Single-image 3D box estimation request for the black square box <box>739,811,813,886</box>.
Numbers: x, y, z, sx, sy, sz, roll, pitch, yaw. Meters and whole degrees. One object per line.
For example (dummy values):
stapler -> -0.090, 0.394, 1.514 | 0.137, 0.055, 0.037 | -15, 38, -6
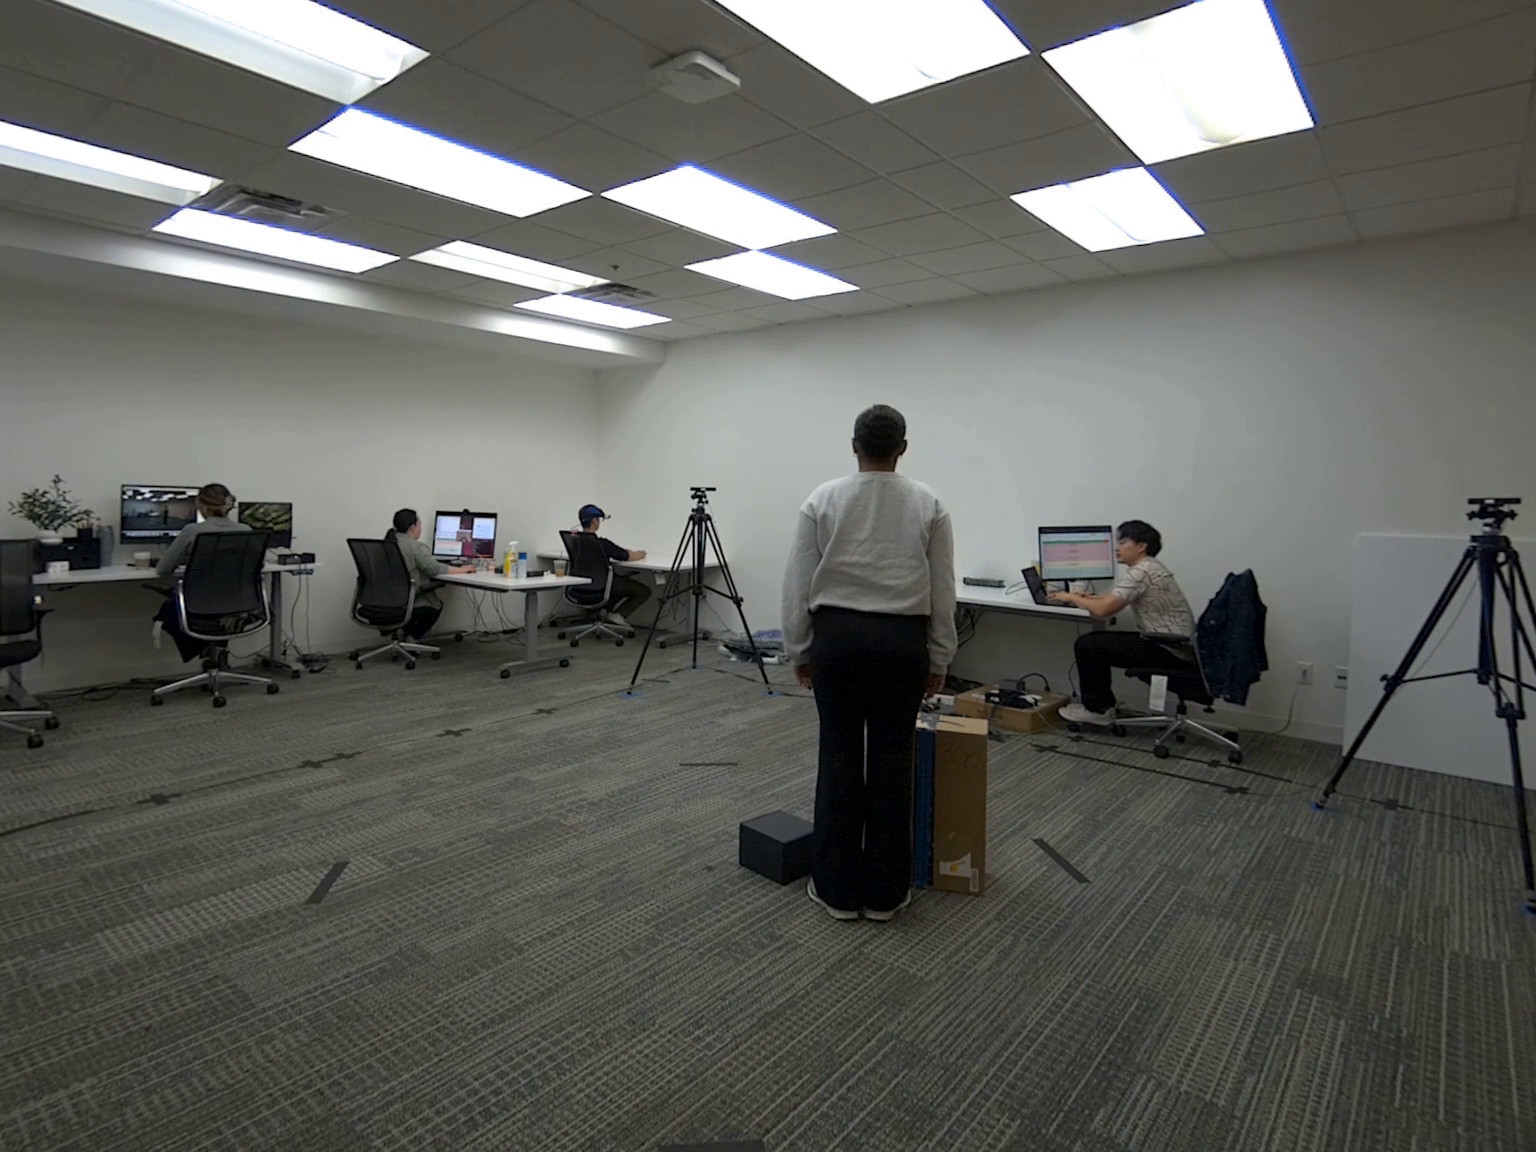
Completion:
black square box -> 0.041, 0.989, 3.134 | 0.210, 0.155, 0.236 | -3, 7, -44
